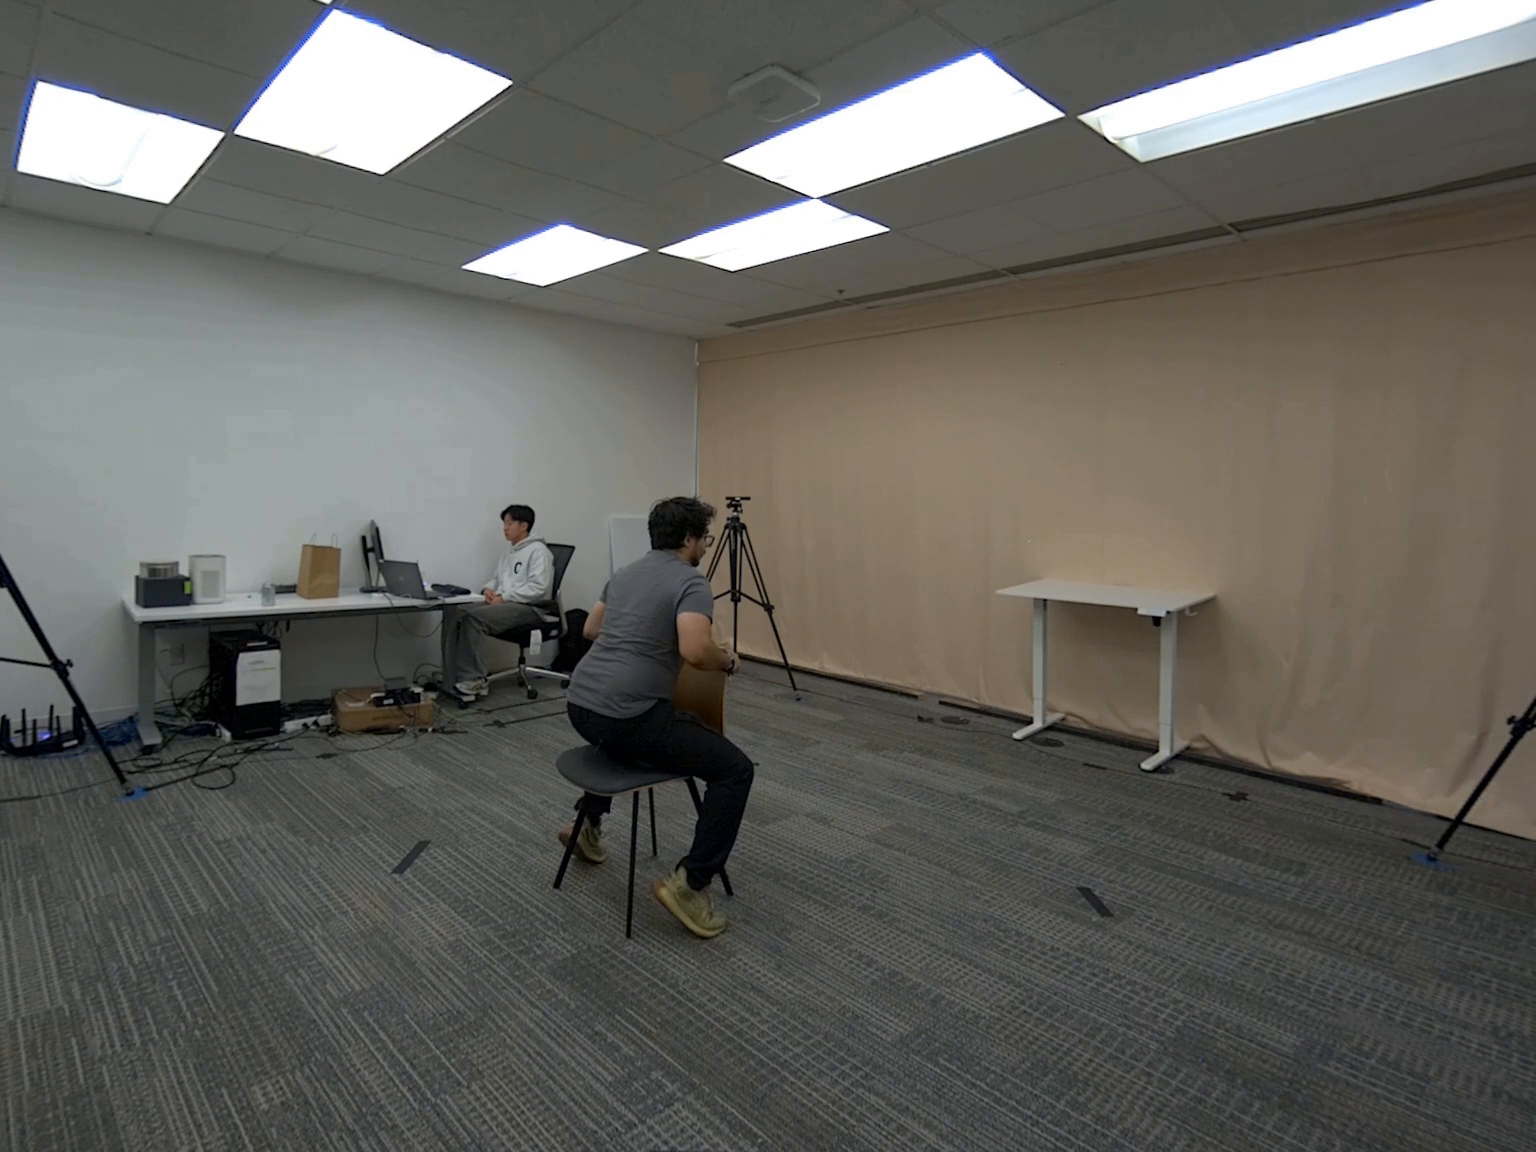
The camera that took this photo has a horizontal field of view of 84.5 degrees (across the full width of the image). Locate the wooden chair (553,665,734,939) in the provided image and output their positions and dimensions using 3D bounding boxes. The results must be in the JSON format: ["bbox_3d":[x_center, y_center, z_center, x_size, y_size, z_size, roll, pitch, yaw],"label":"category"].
[{"bbox_3d":[-0.439,0.690,2.923,0.510,0.877,0.490,4,1,-44],"label":"wooden chair"}]
